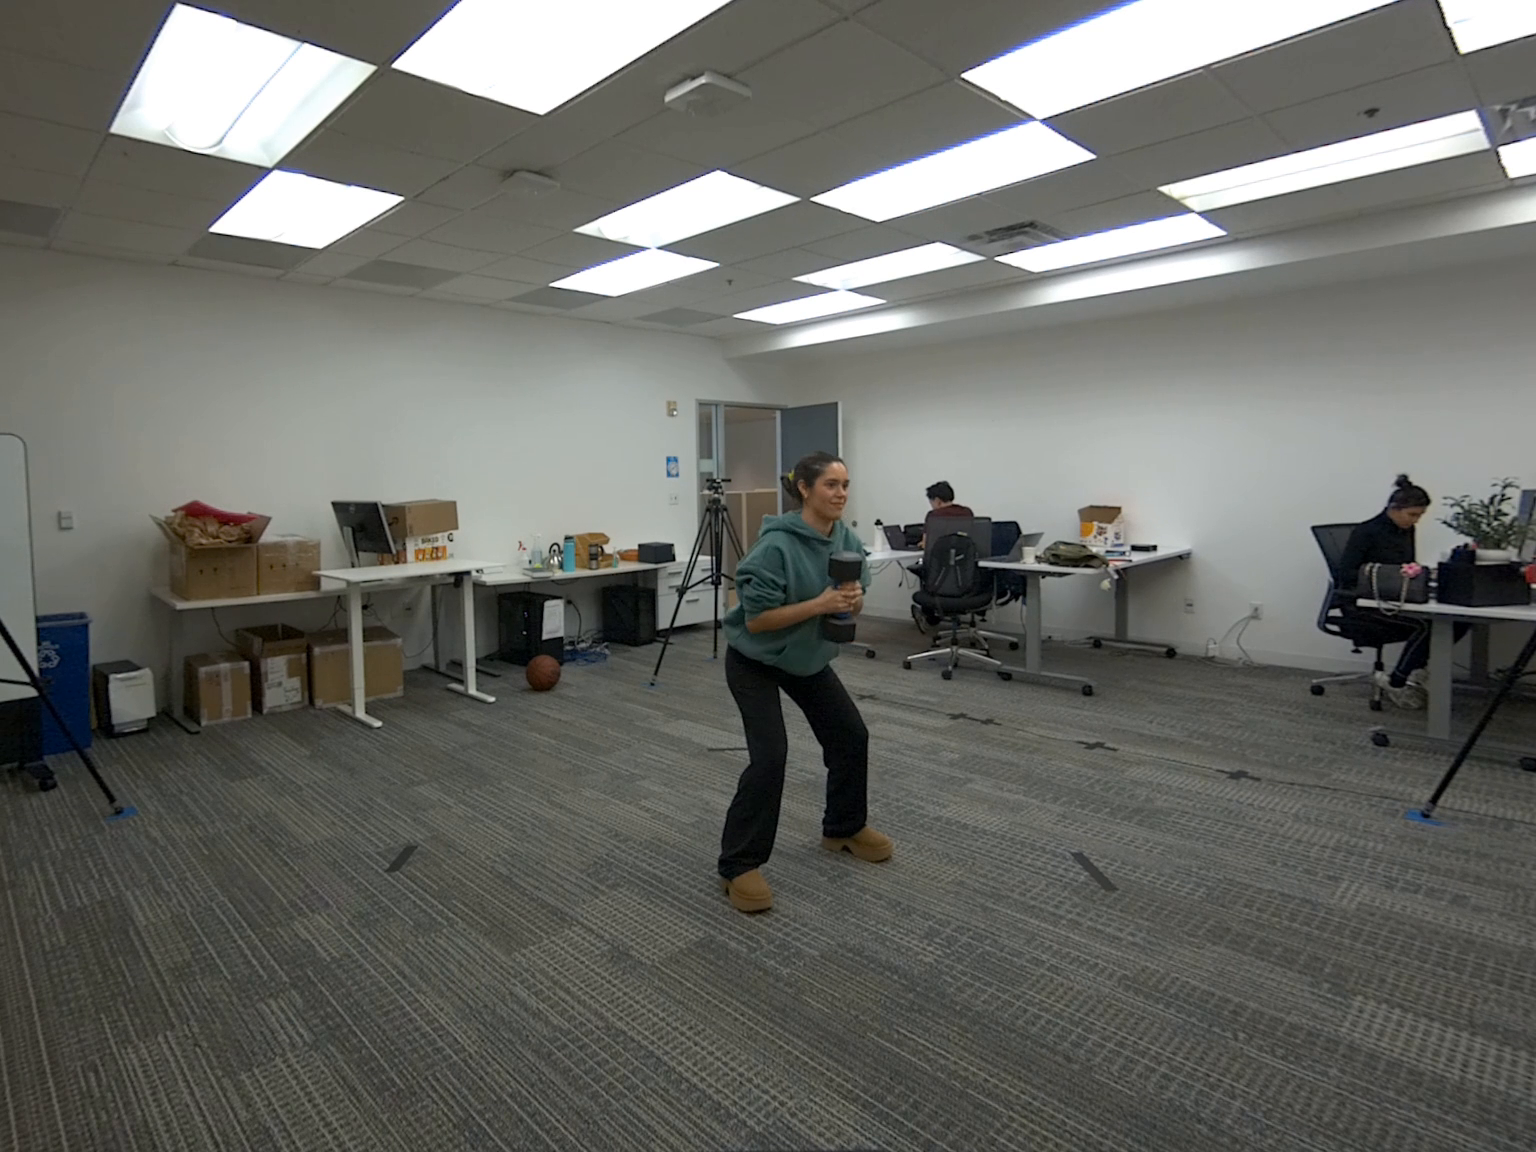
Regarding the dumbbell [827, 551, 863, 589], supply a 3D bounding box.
[{"bbox_3d":[0.227,0.078,2.818,0.109,0.290,0.124,2,13,0],"label":"dumbbell"}]
